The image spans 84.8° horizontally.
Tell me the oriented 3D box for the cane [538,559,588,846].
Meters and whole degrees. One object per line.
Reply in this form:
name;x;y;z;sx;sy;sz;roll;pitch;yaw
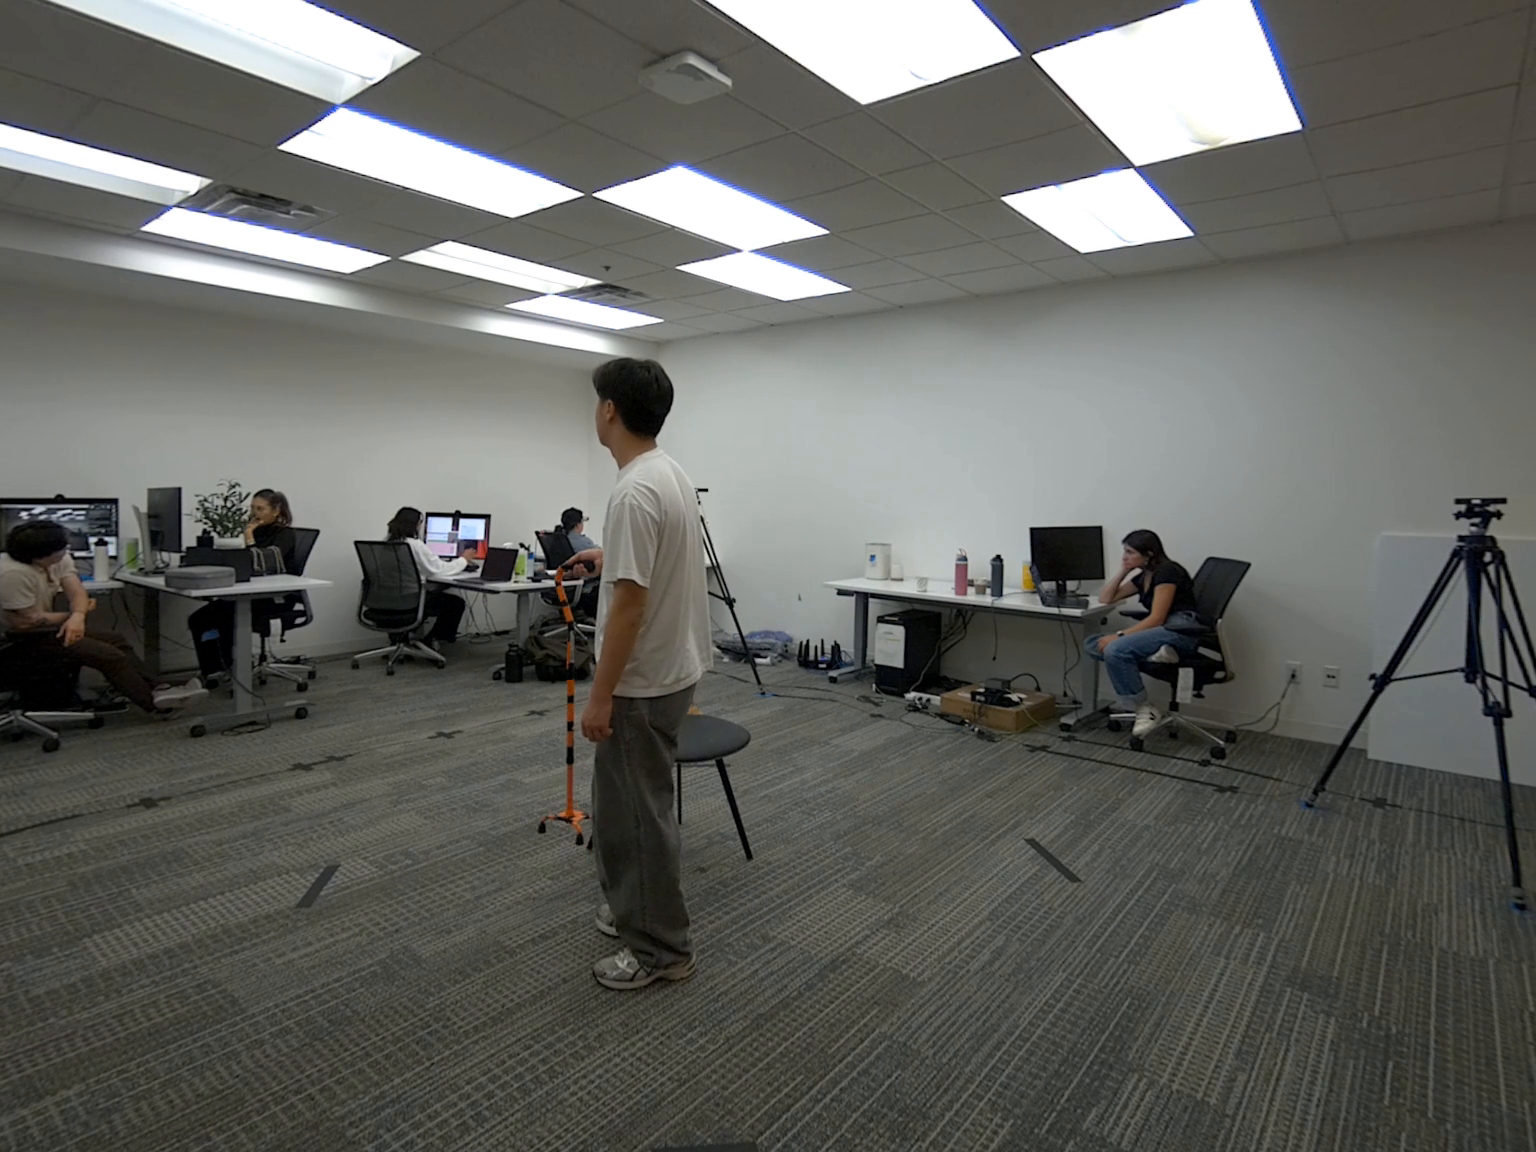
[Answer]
cane;-0.654;0.424;2.839;0.212;0.907;0.147;1;1;30
